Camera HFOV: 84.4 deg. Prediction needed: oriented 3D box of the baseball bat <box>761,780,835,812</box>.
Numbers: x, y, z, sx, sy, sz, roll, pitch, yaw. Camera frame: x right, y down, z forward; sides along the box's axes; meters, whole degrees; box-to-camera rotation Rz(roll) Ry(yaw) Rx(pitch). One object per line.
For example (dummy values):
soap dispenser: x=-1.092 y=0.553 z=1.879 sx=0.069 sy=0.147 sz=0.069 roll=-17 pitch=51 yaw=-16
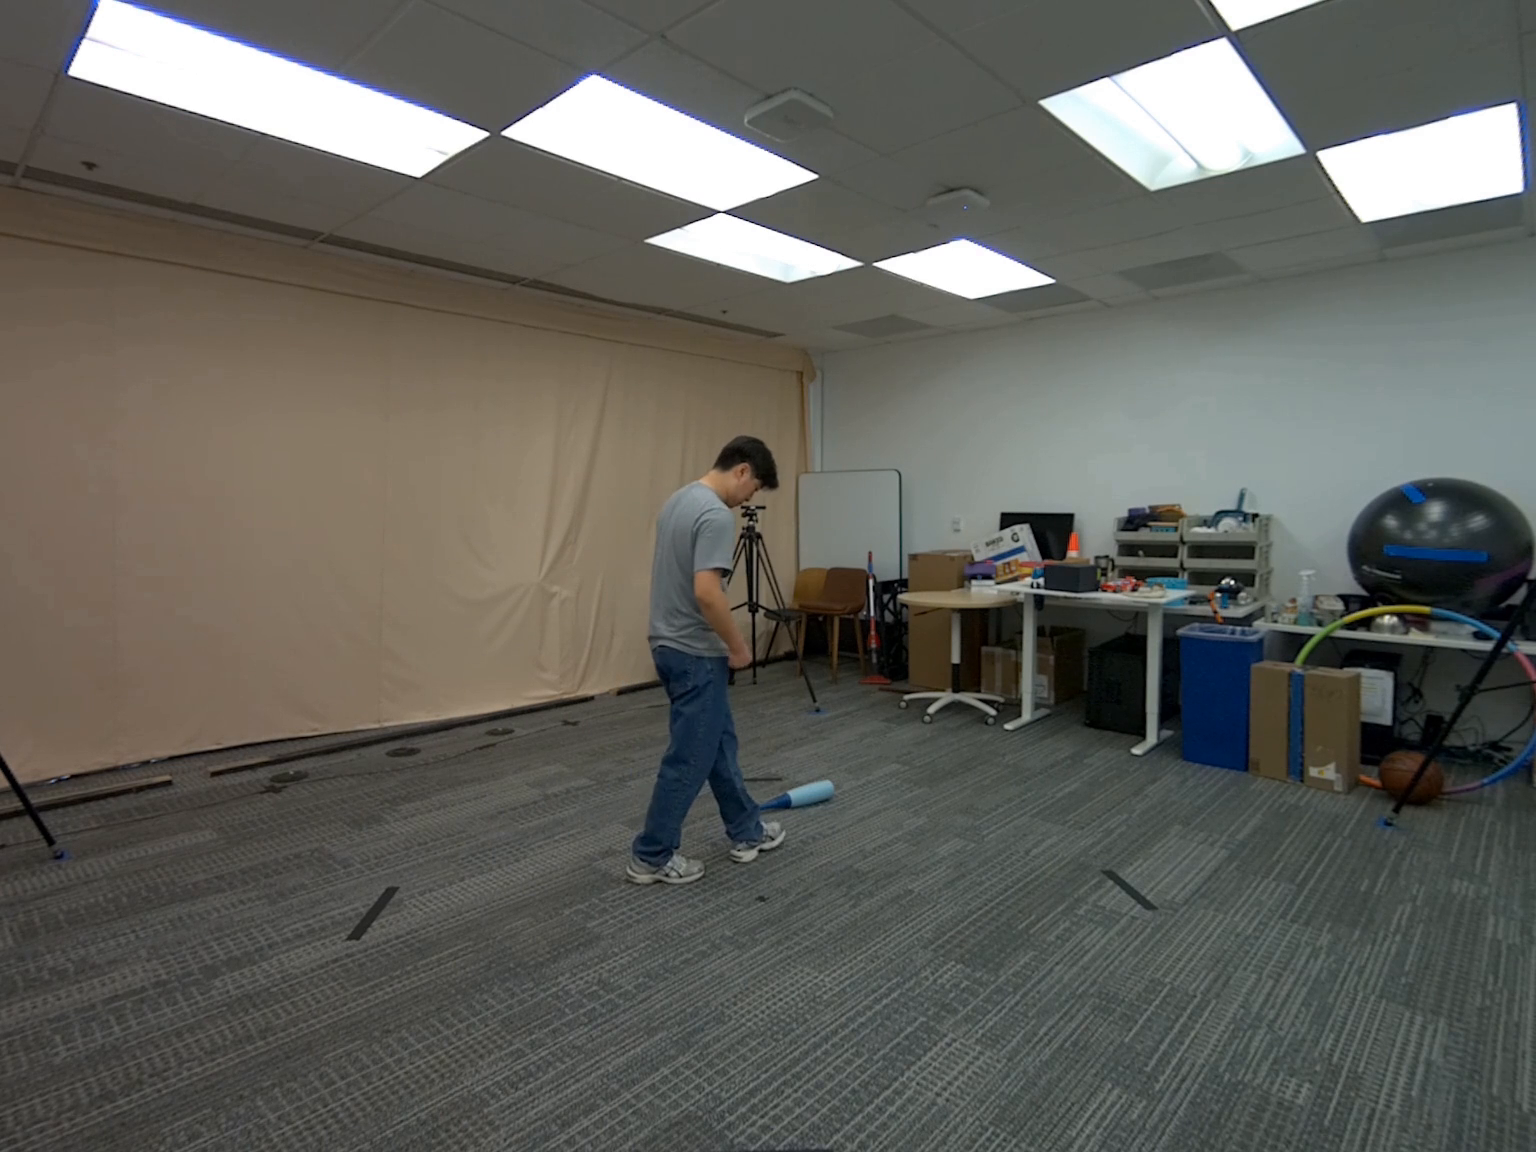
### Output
baseball bat: x=0.075 y=1.038 z=3.869 sx=0.529 sy=0.089 sz=0.091 roll=-6 pitch=7 yaw=-29
